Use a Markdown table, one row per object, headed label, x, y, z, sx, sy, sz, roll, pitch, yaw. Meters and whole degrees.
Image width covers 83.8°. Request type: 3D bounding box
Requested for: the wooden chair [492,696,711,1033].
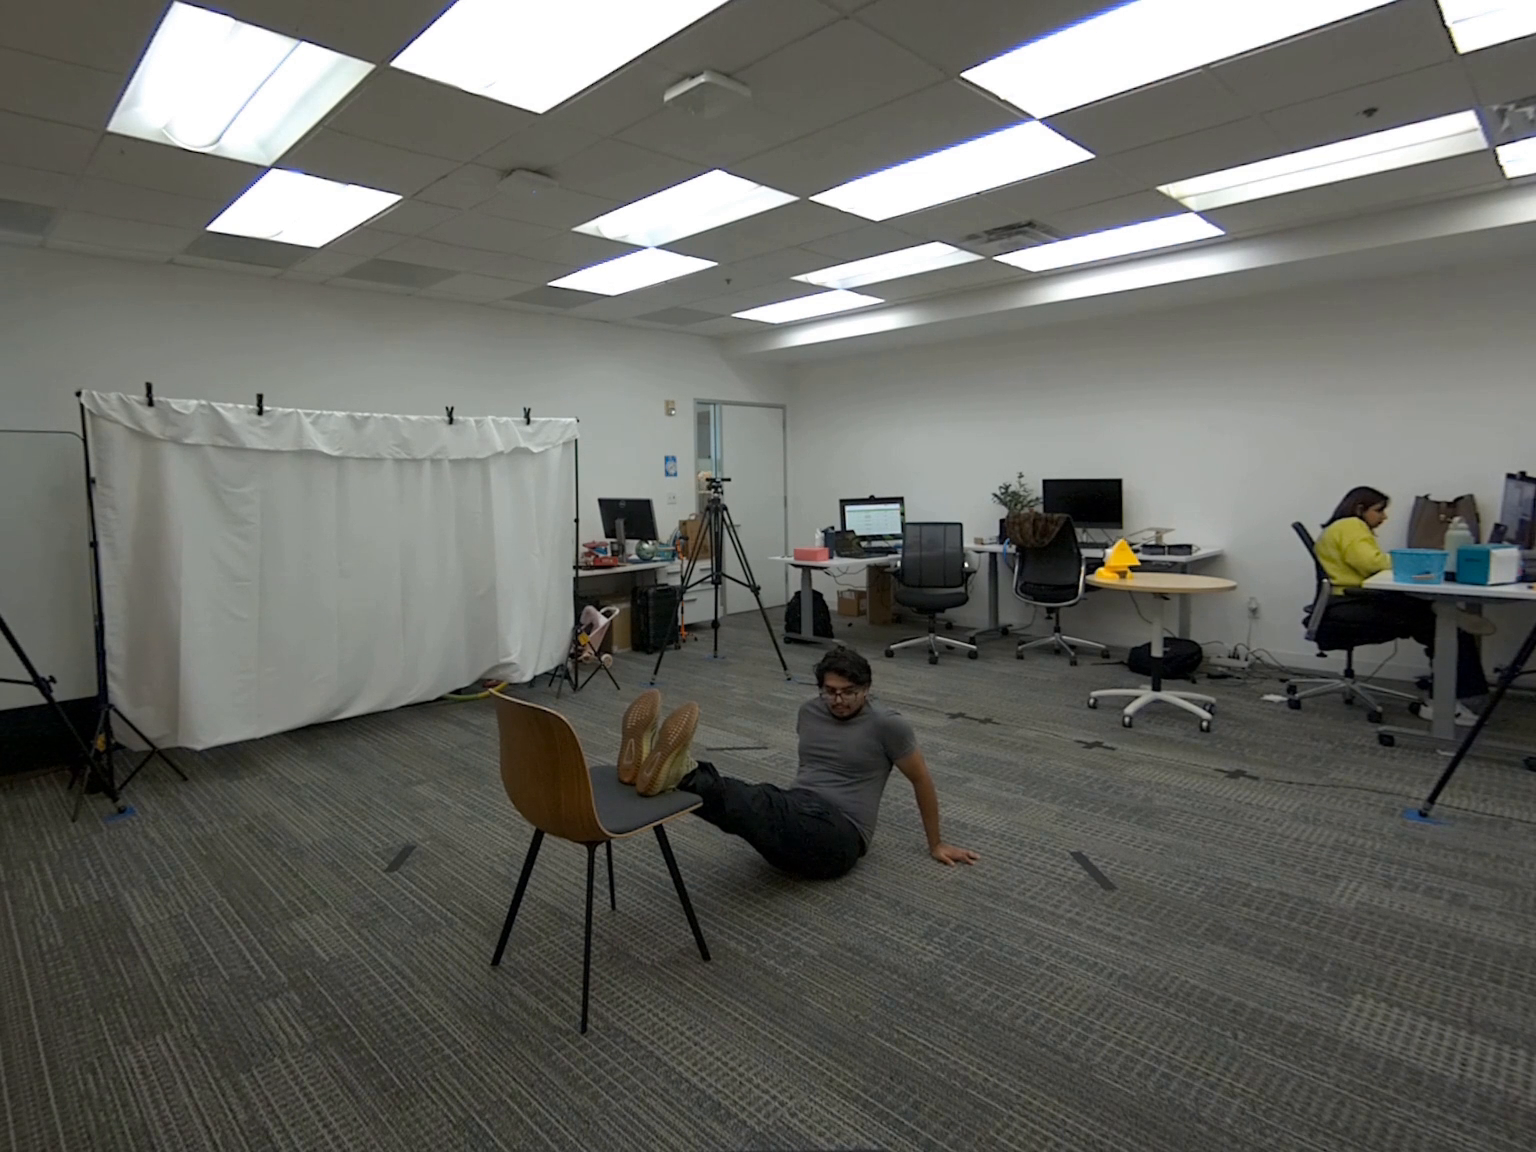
| label | x | y | z | sx | sy | sz | roll | pitch | yaw |
| --- | --- | --- | --- | --- | --- | --- | --- | --- | --- |
| wooden chair | -0.483 | 0.704 | 2.451 | 0.493 | 0.871 | 0.511 | 4 | 10 | 43 |
